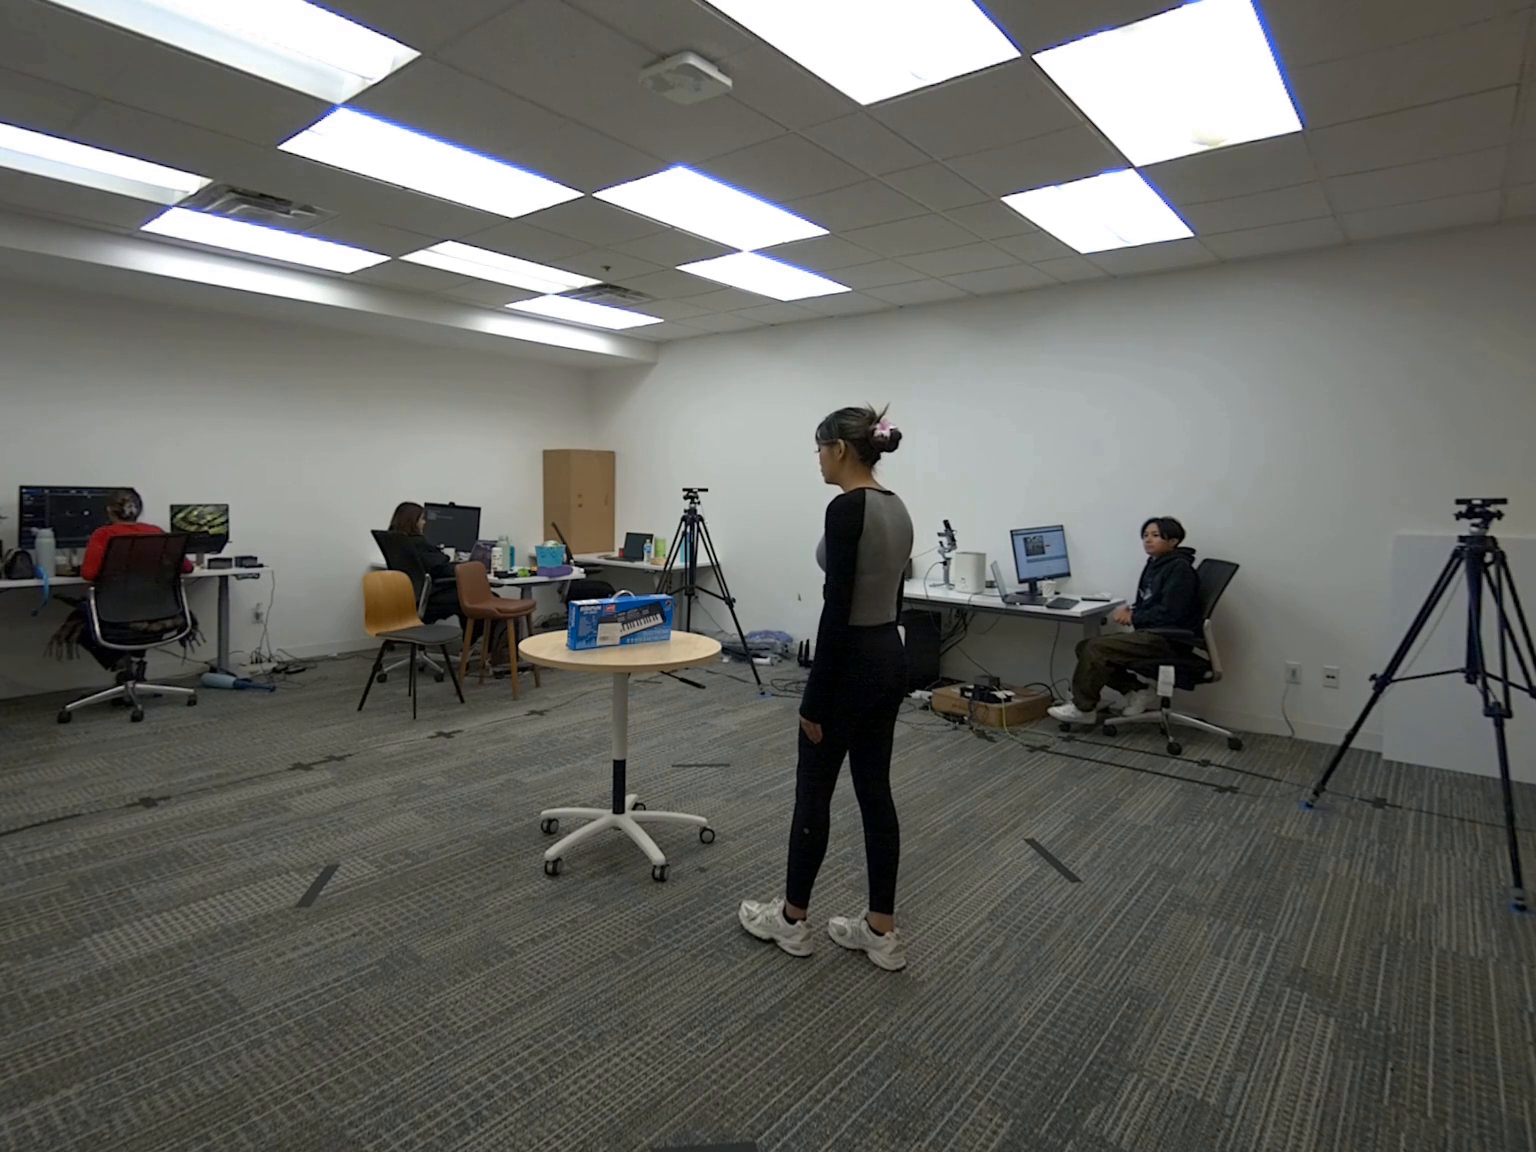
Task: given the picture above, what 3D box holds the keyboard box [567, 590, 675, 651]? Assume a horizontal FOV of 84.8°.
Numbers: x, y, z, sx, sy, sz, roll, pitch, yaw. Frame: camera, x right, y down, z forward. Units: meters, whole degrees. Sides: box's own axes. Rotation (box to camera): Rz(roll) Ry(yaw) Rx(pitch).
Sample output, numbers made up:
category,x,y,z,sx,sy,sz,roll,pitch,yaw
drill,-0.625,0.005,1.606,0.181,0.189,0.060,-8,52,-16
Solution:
category,x,y,z,sx,sy,sz,roll,pitch,yaw
keyboard box,-0.567,0.172,3.237,0.424,0.175,0.061,-4,11,-41
